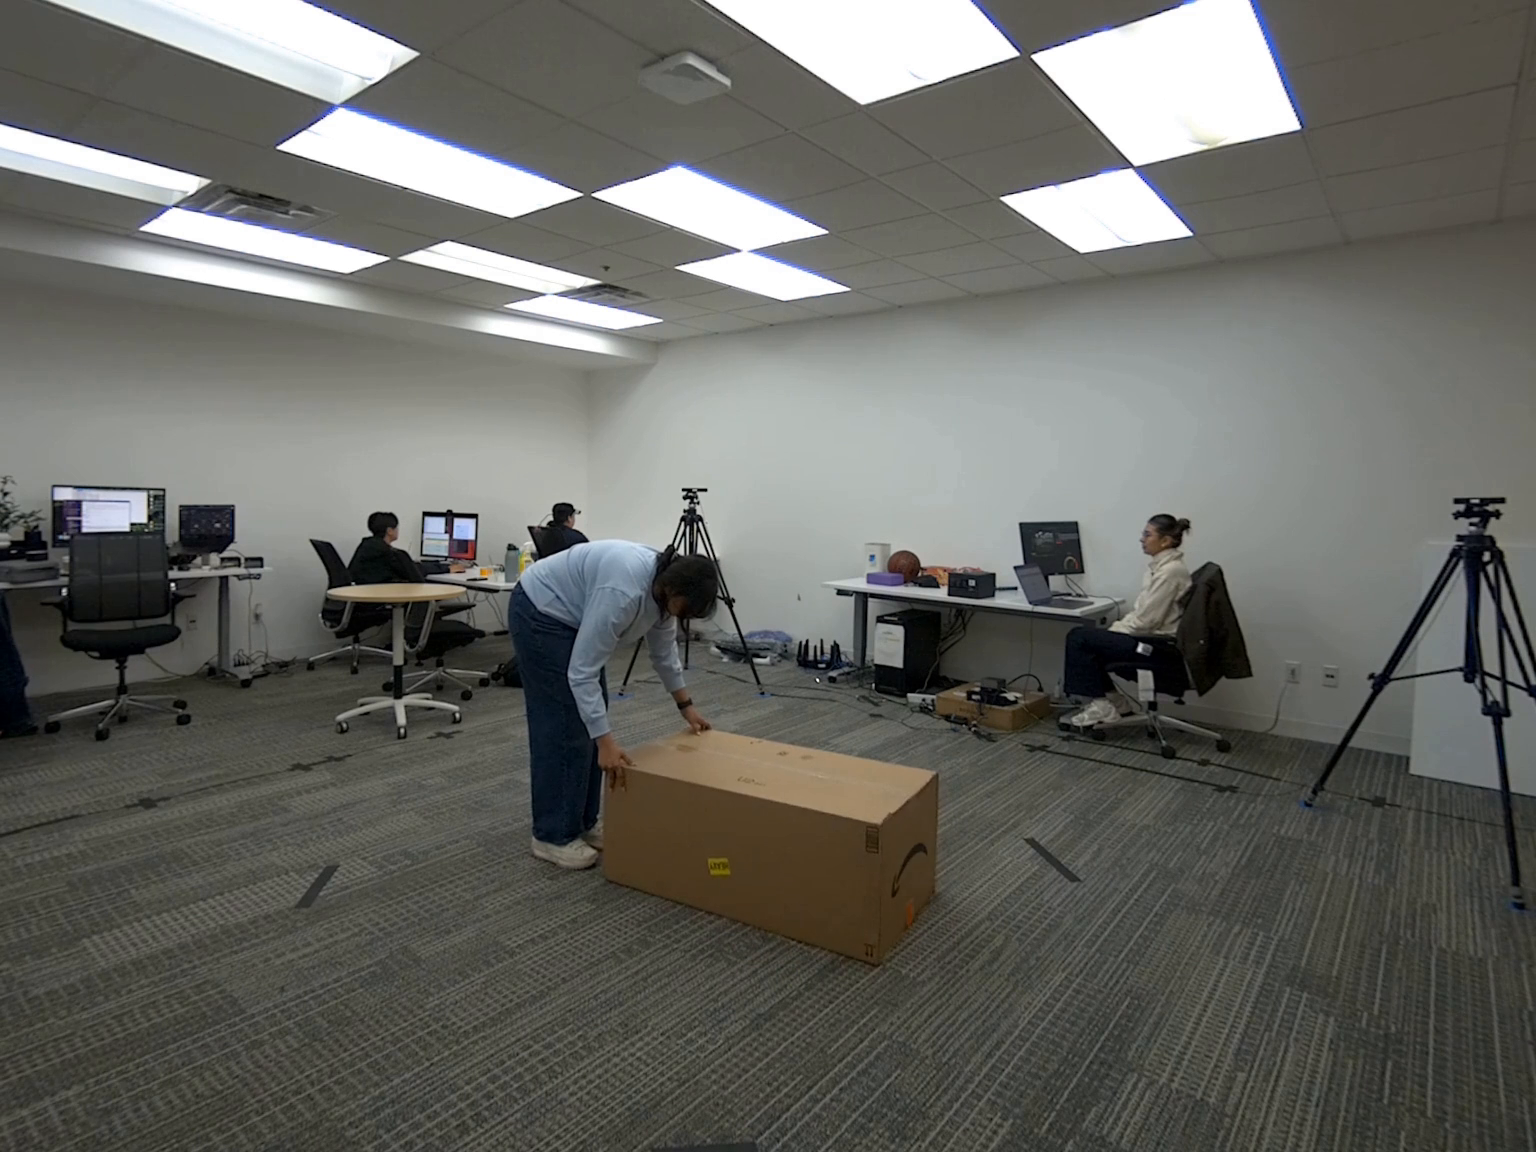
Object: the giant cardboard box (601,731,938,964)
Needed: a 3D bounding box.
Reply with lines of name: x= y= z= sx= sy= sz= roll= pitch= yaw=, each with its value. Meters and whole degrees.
giant cardboard box: x=0.004 y=0.876 z=2.978 sx=1.056 sy=0.425 sz=0.563 roll=4 pitch=5 yaw=29
